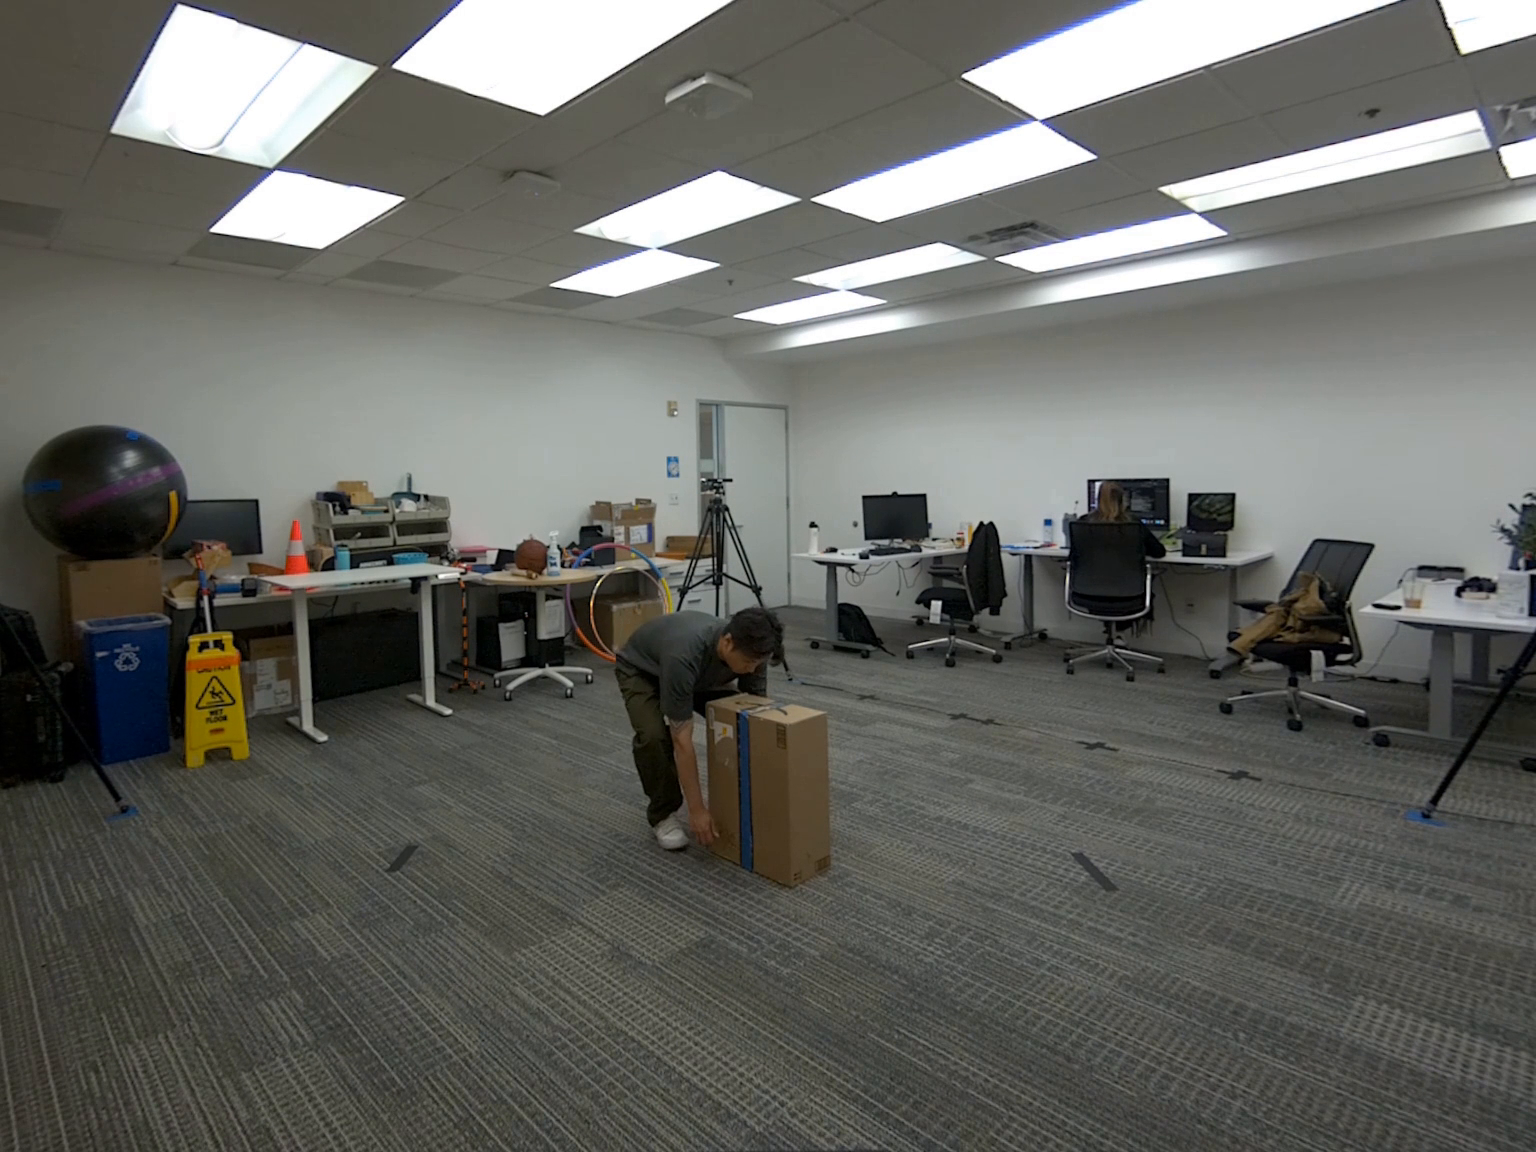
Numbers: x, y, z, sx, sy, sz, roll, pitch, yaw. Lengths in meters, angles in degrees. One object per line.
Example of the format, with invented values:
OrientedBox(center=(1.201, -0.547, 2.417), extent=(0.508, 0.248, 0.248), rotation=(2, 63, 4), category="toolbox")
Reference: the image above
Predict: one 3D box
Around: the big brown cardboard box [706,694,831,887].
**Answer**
OrientedBox(center=(-0.001, 0.757, 3.114), extent=(0.227, 0.587, 0.430), rotation=(-5, 5, -43), category="big brown cardboard box")
